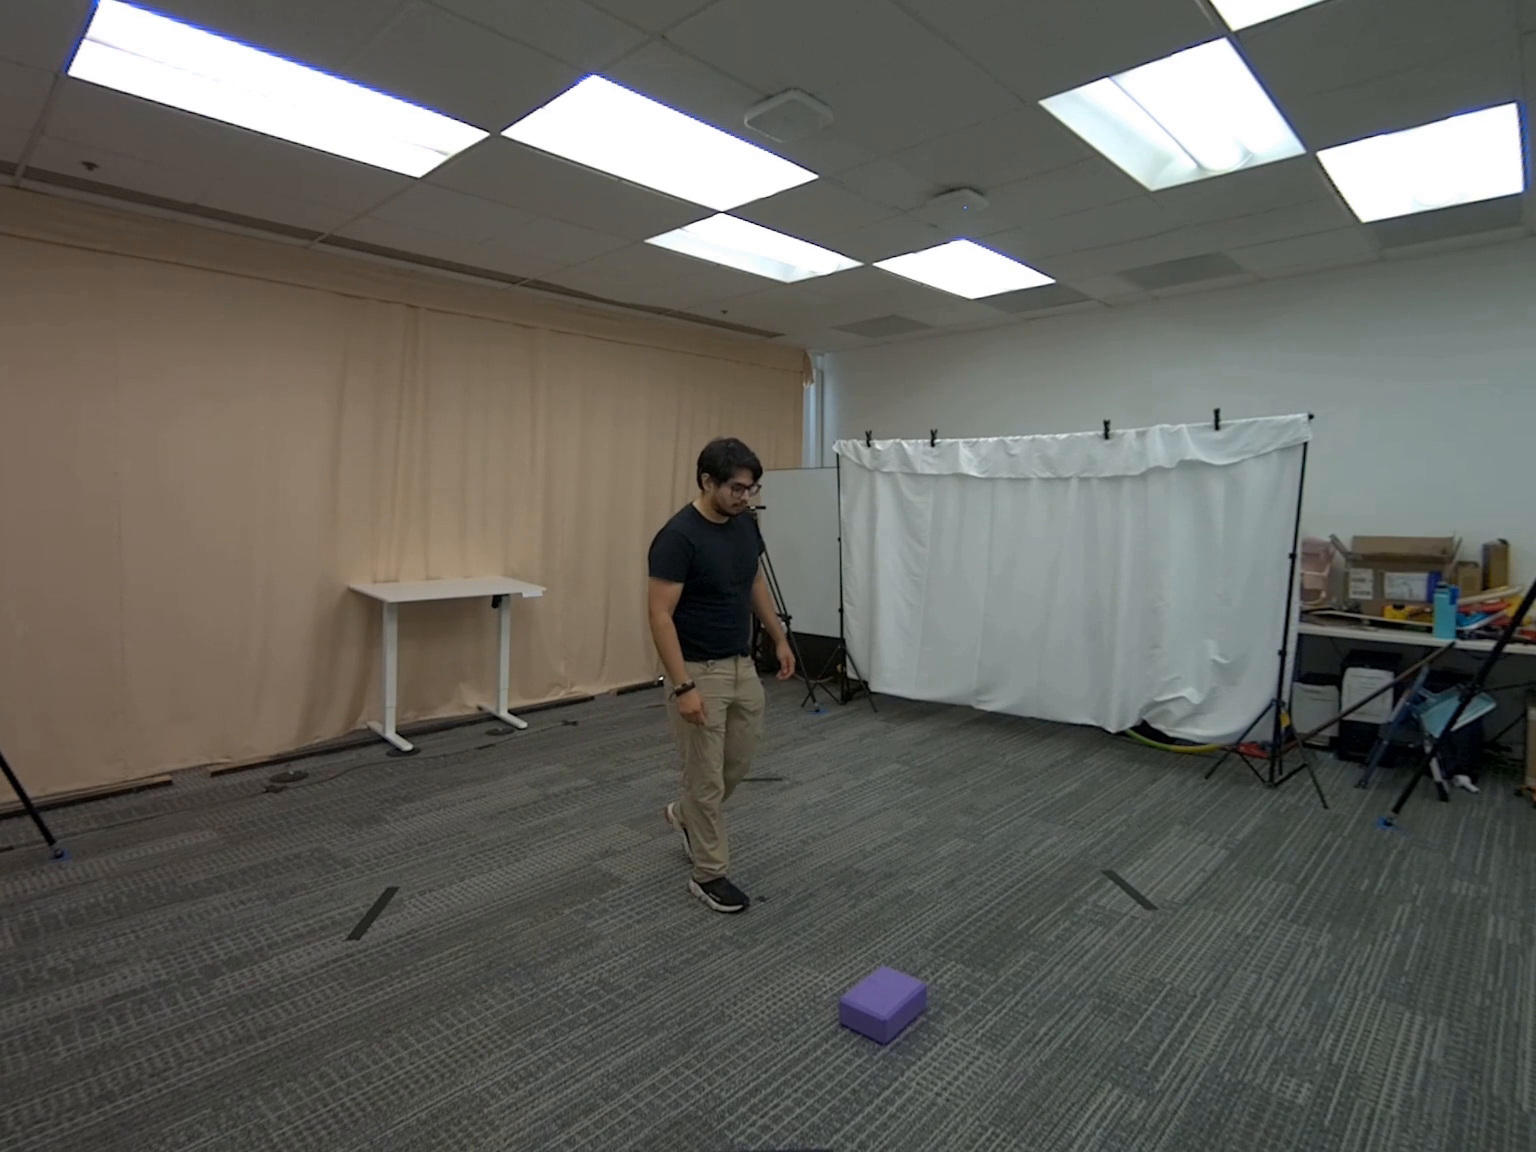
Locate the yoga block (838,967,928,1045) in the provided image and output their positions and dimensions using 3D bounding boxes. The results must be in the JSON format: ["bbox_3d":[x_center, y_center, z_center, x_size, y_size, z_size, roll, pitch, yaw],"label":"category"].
[{"bbox_3d":[0.321,1.163,2.289,0.154,0.076,0.222,5,7,40],"label":"yoga block"}]
